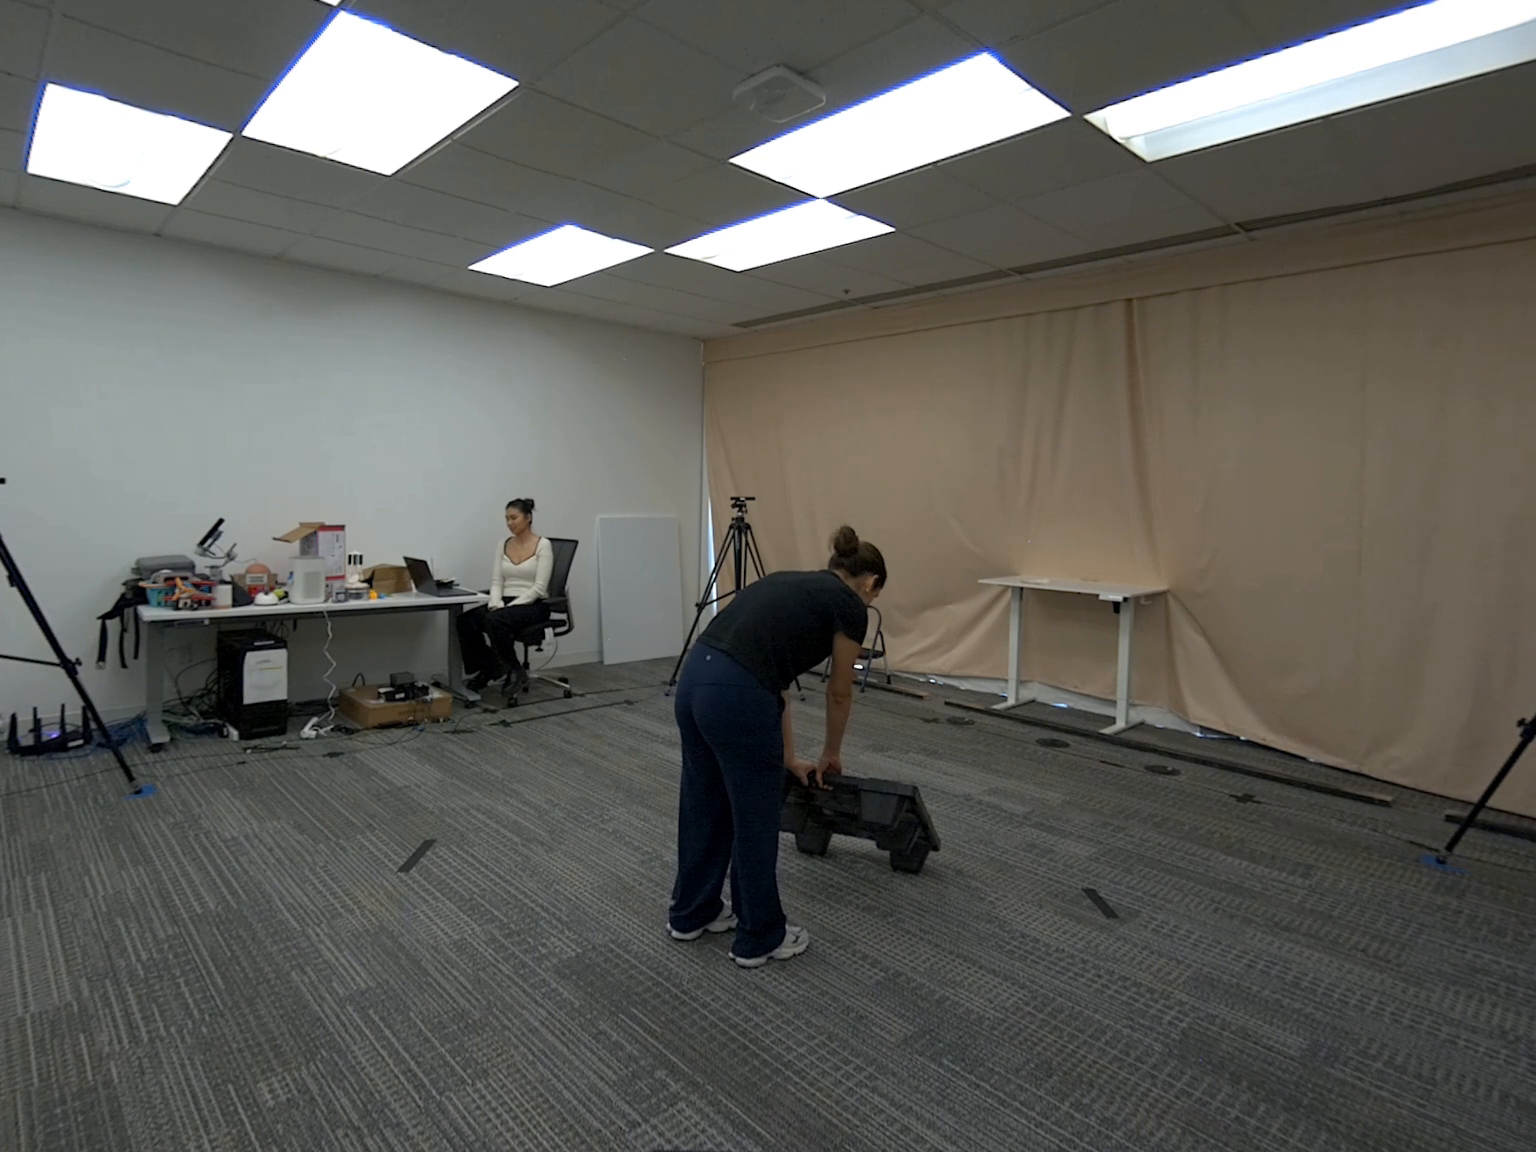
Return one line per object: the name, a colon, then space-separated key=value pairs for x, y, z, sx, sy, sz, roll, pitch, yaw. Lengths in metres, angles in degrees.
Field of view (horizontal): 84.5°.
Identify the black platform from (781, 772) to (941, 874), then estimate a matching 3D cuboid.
black platform: x=0.259 y=0.871 z=2.974 sx=0.615 sy=0.145 sz=0.782 roll=3 pitch=-29 yaw=20
